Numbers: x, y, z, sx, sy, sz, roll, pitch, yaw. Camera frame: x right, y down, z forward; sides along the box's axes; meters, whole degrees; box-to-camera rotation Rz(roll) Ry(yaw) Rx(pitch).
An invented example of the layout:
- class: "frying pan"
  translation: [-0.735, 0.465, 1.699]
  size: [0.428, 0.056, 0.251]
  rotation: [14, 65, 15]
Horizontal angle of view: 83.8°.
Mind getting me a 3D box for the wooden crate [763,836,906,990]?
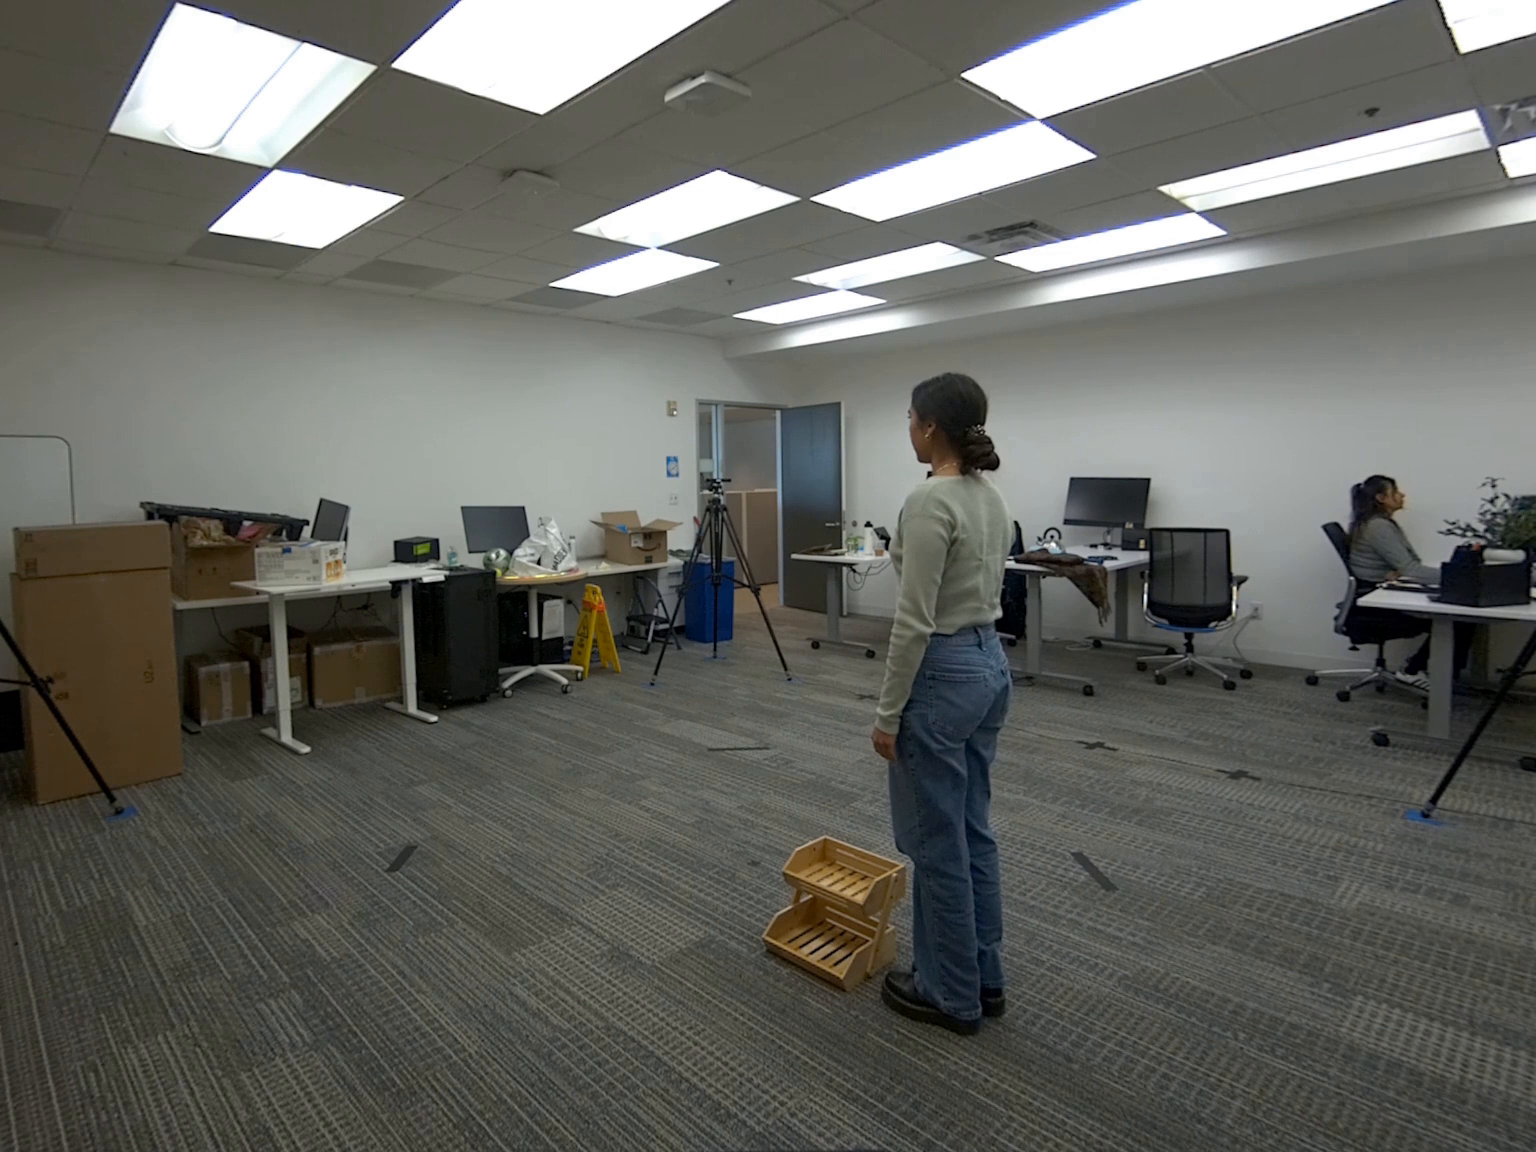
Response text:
- class: "wooden crate"
  translation: [0.199, 0.976, 2.507]
  size: [0.334, 0.272, 0.294]
  rotation: [4, 6, 44]
